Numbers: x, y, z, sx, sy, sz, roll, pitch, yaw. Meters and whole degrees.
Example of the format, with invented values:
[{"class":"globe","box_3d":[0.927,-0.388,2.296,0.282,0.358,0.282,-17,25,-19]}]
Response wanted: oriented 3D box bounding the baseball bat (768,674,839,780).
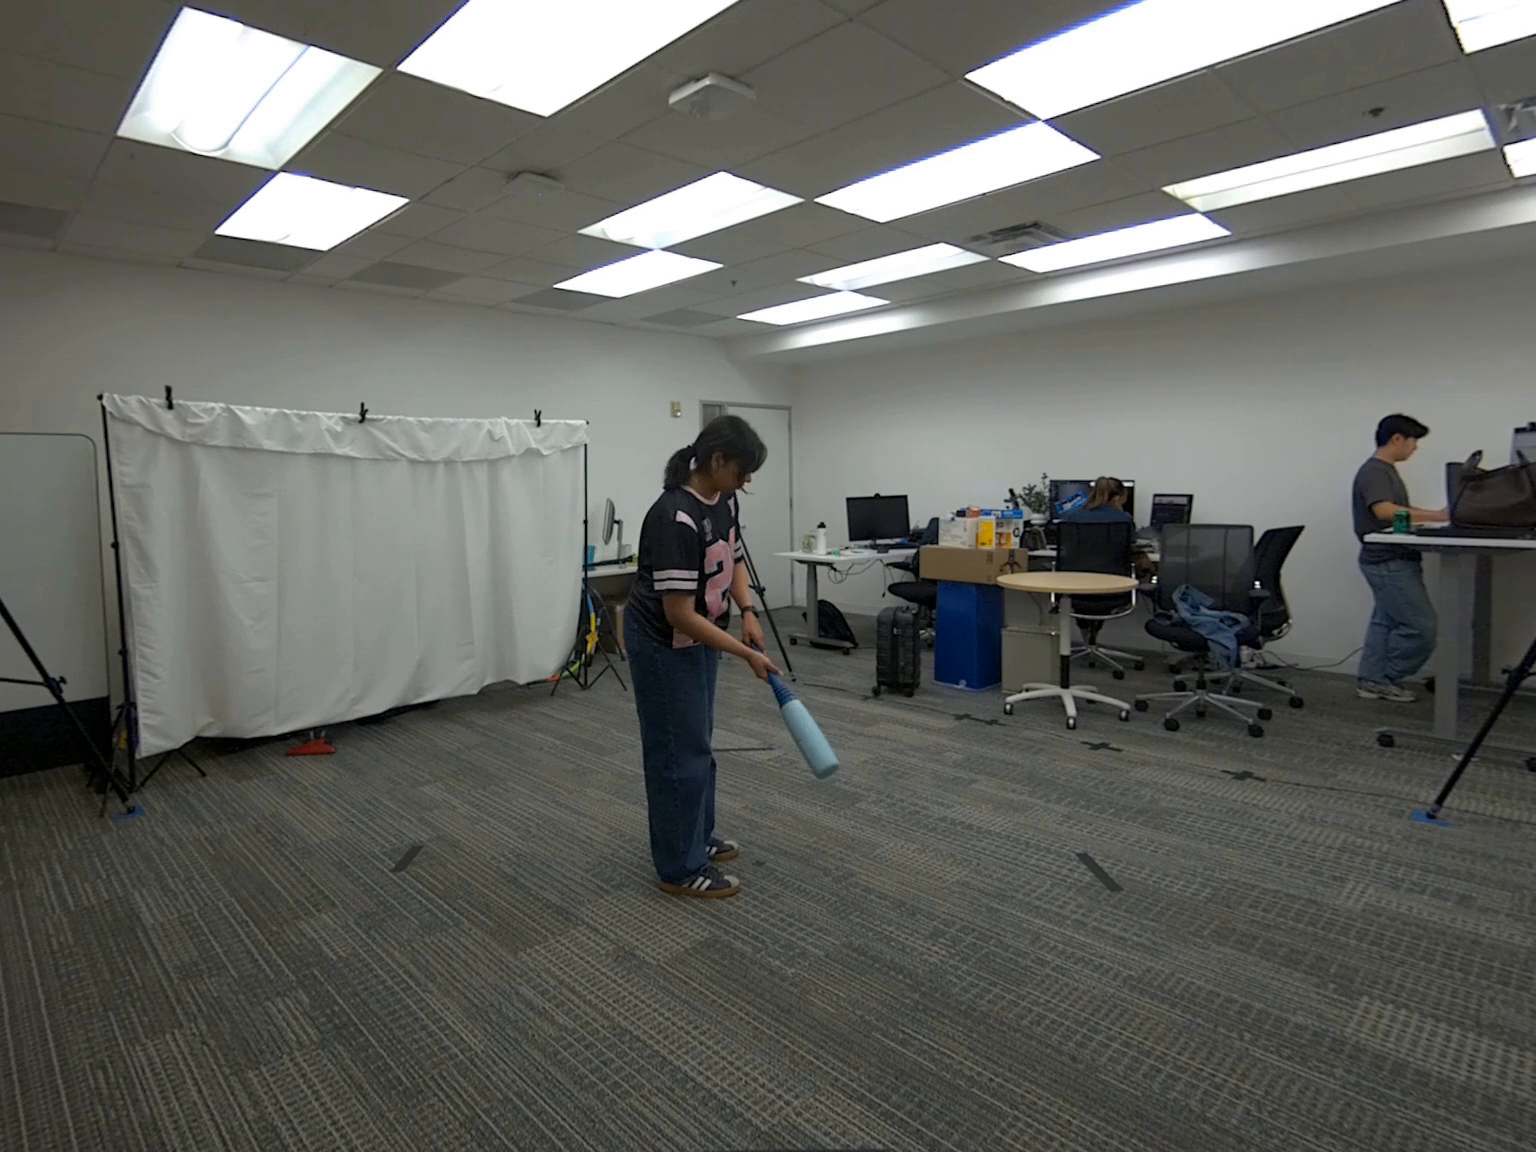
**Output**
[{"class":"baseball bat","box_3d":[0.047,0.373,2.753,0.087,0.088,0.562,-4,47,-36]}]
